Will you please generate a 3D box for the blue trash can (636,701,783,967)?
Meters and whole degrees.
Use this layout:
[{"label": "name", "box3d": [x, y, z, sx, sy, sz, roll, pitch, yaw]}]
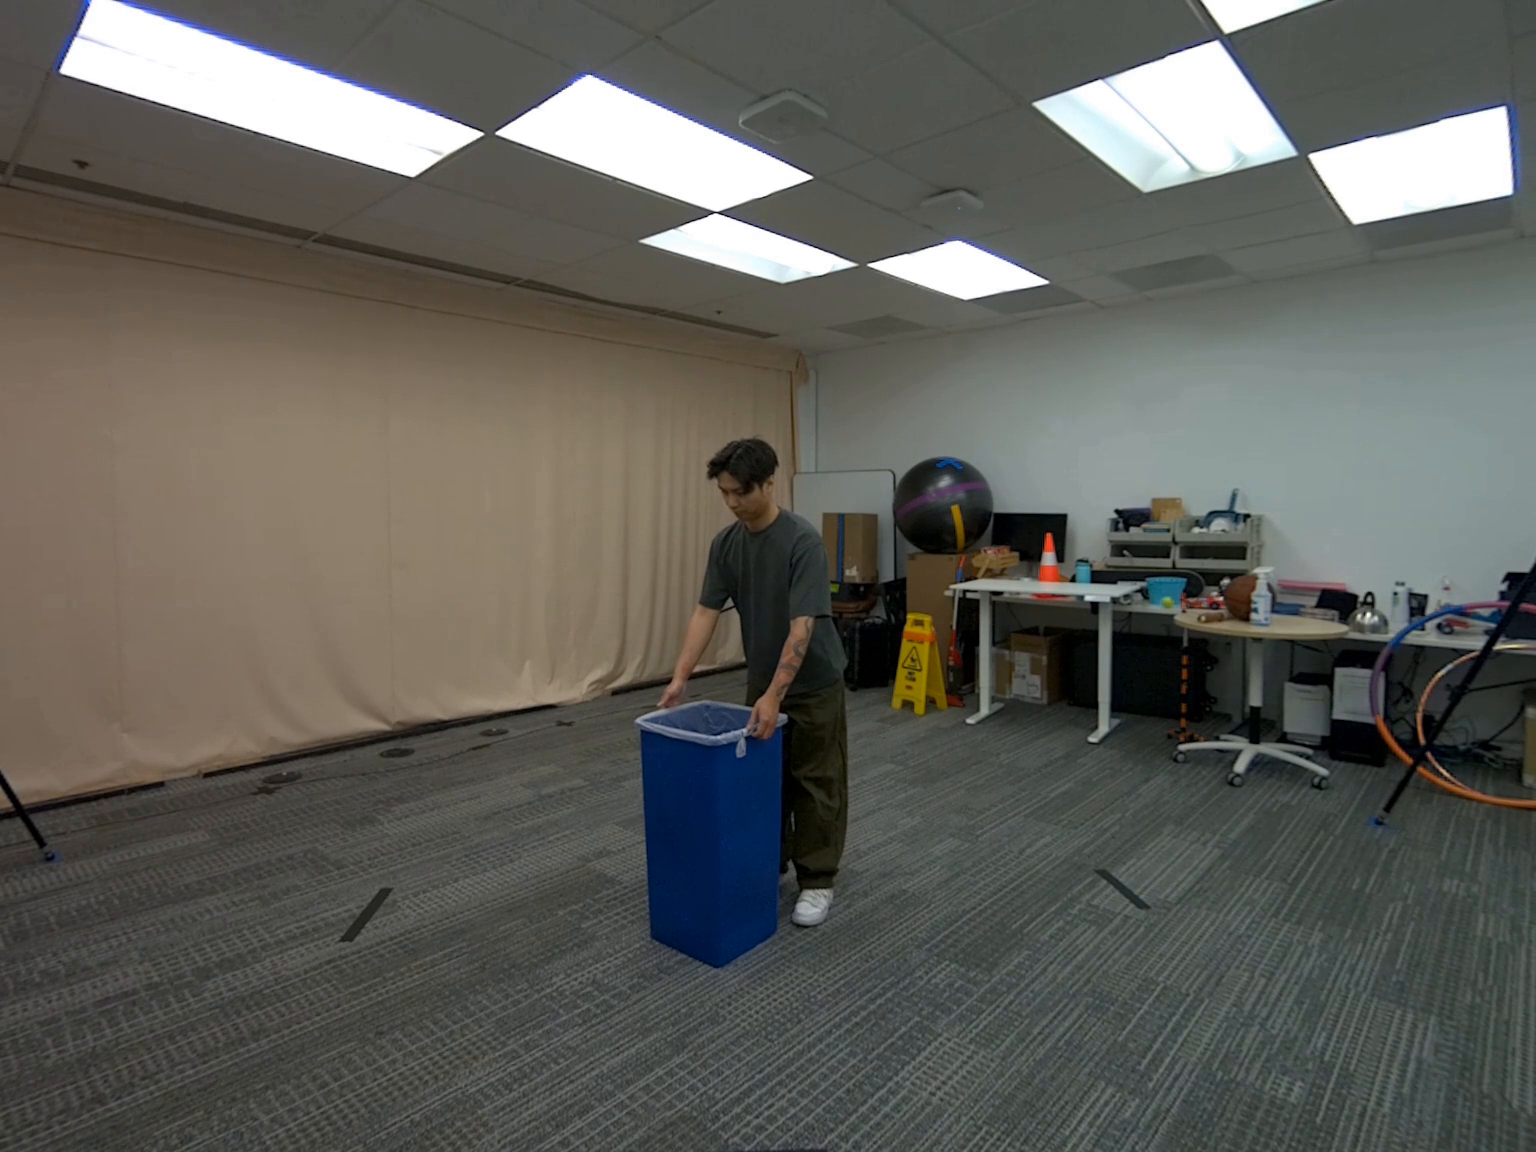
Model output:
[{"label": "blue trash can", "box3d": [-0.180, 0.811, 2.711, 0.390, 0.713, 0.363, 1, 2, 38]}]
